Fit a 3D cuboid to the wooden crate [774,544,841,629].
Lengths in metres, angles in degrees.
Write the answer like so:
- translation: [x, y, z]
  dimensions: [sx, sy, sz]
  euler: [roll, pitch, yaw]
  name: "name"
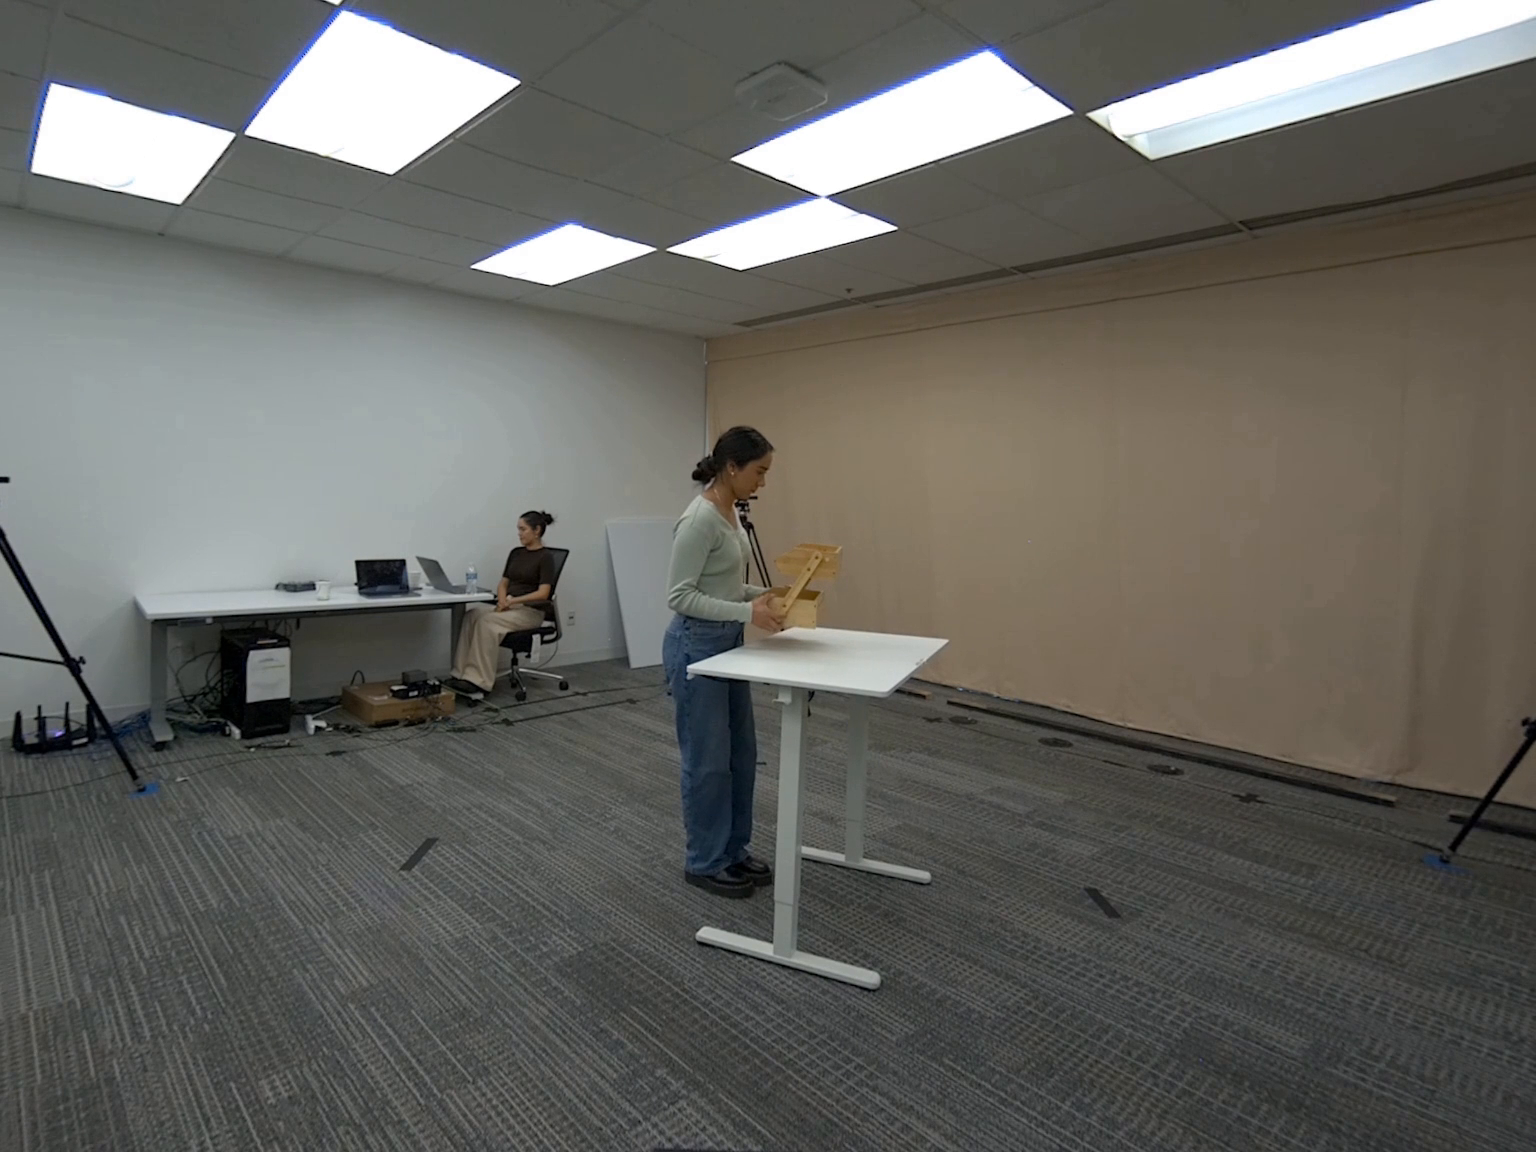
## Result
- translation: [0.081, 0.019, 2.914]
  dimensions: [0.304, 0.272, 0.323]
  euler: [5, 5, 9]
  name: "wooden crate"
